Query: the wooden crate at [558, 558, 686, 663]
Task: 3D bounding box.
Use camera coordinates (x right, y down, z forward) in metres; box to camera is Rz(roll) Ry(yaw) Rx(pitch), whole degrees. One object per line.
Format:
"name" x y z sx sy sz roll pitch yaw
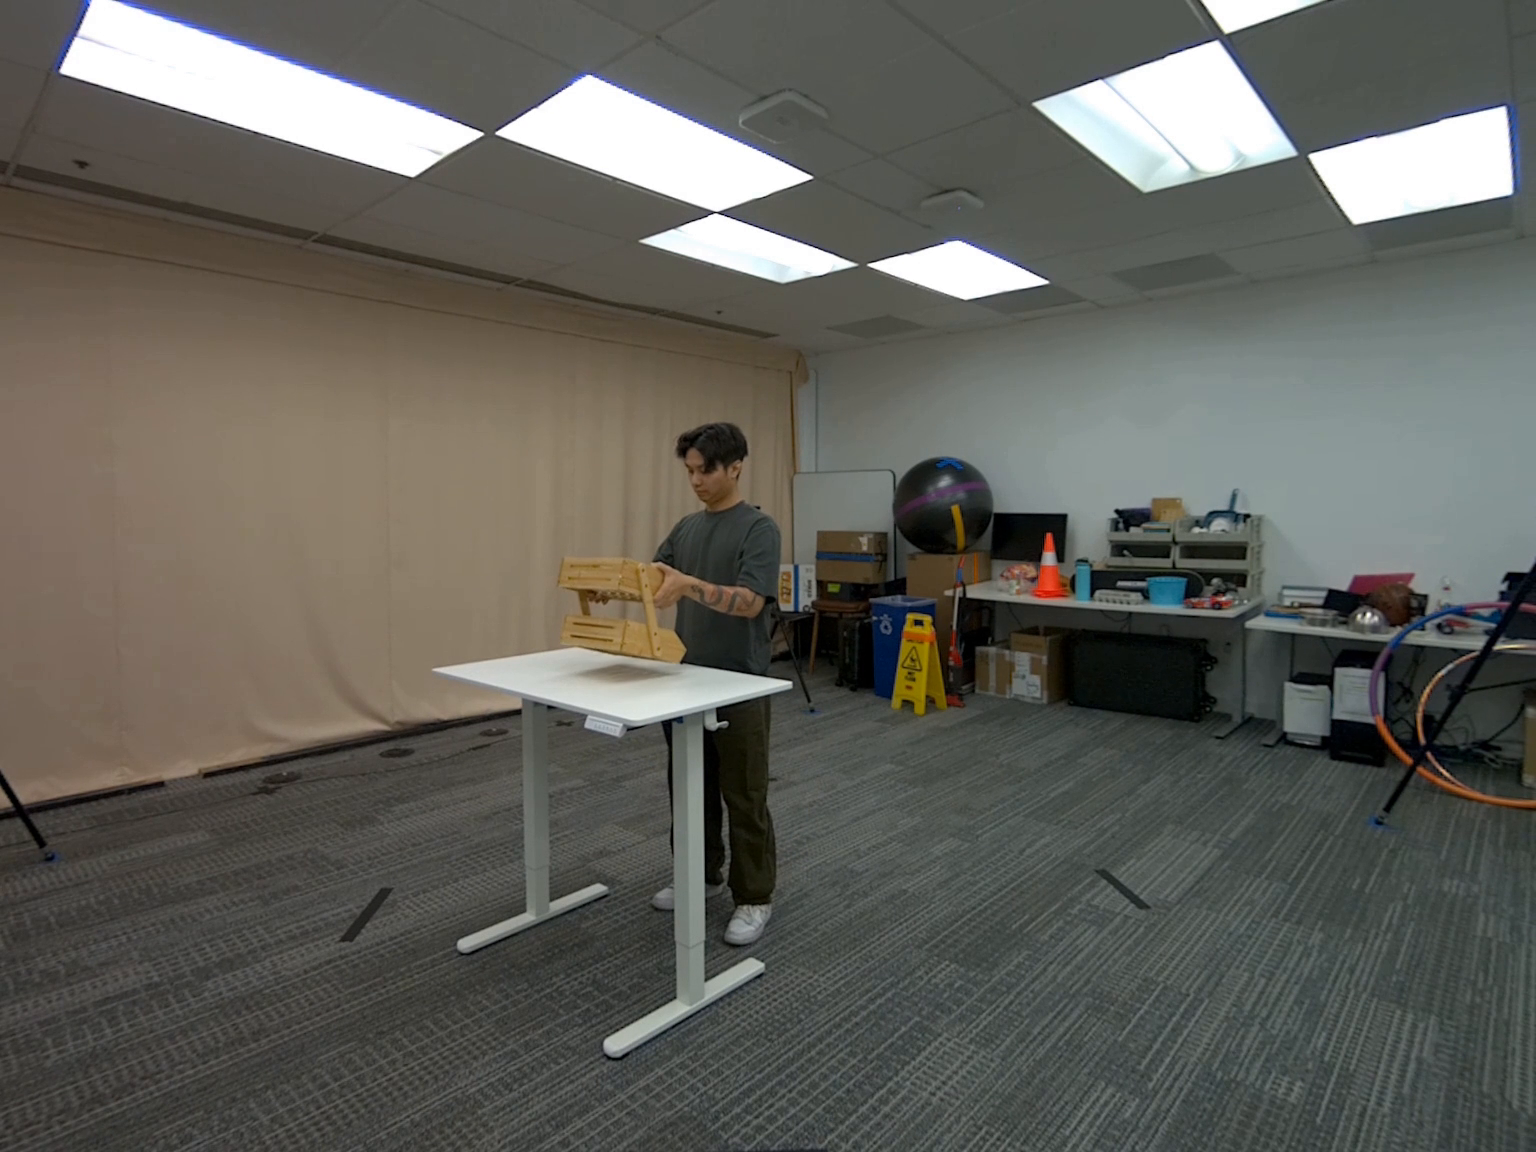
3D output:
"wooden crate" -0.431 0.098 2.579 0.335 0.274 0.291 1 -11 43
